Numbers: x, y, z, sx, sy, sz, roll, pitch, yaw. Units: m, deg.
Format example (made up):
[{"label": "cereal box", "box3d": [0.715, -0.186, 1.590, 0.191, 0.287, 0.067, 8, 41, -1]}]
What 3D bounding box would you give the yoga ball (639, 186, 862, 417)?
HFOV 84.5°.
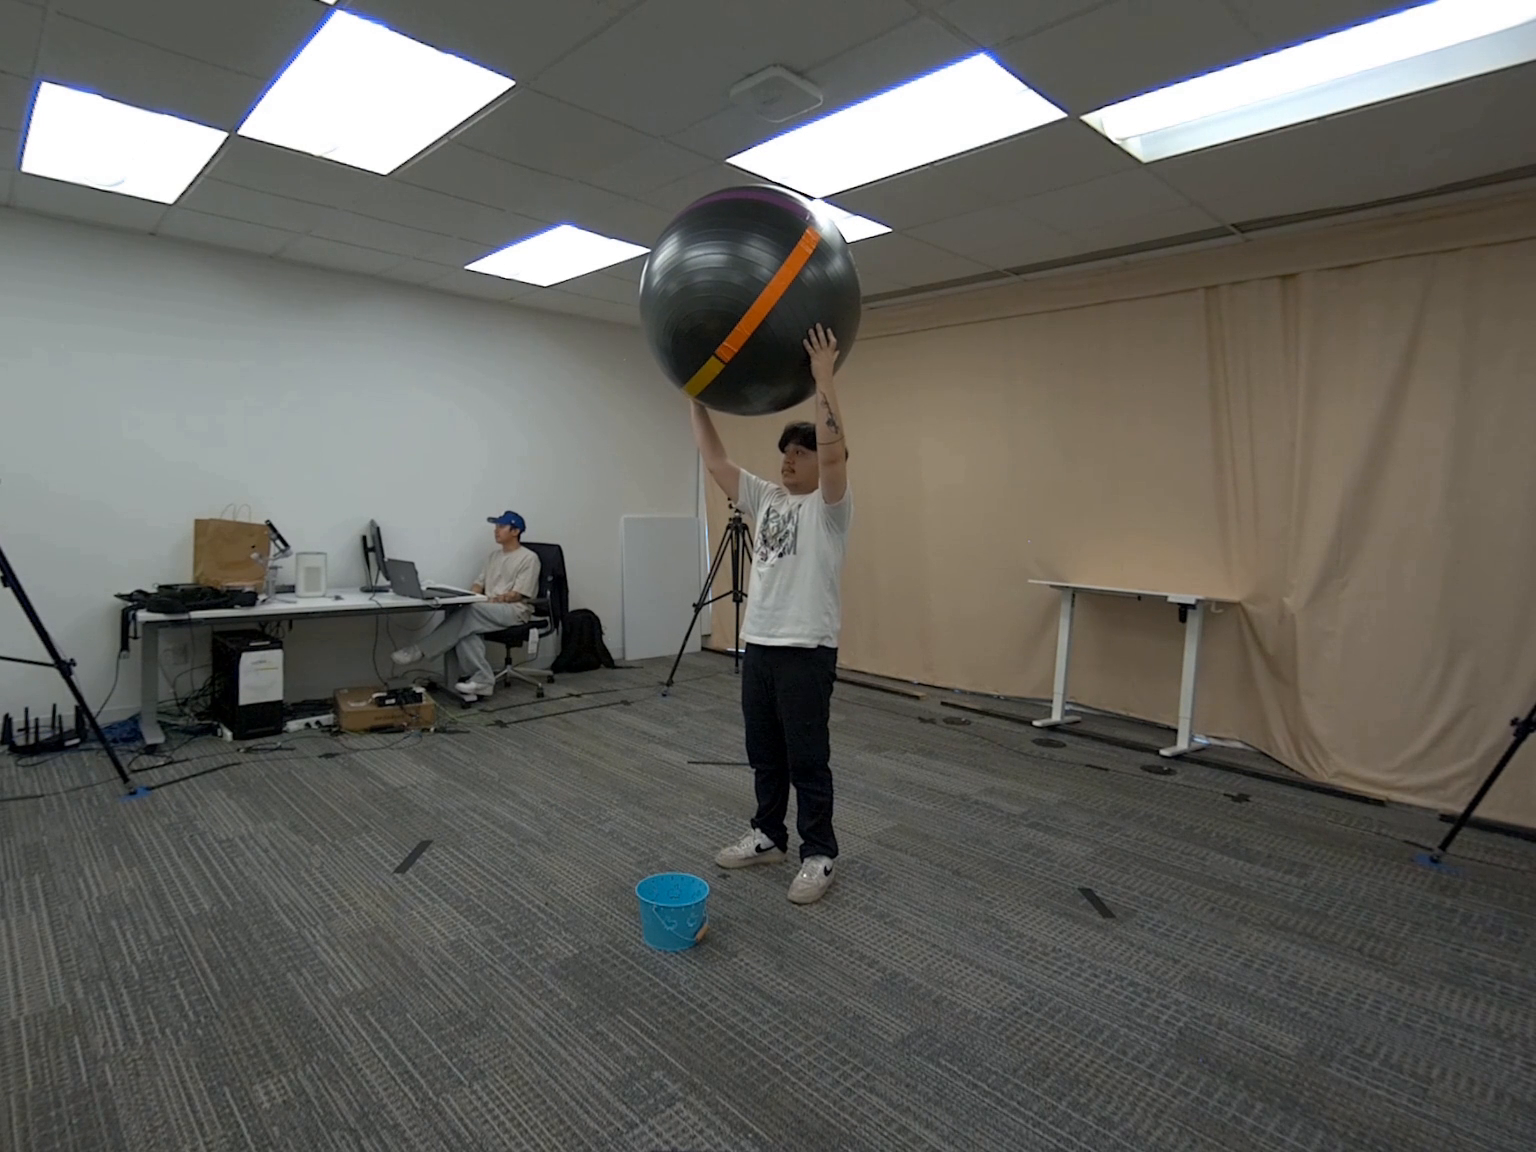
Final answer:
[{"label": "yoga ball", "box3d": [-0.069, -0.929, 2.884, 0.757, 0.756, 0.760, 1, 4, -1]}]
